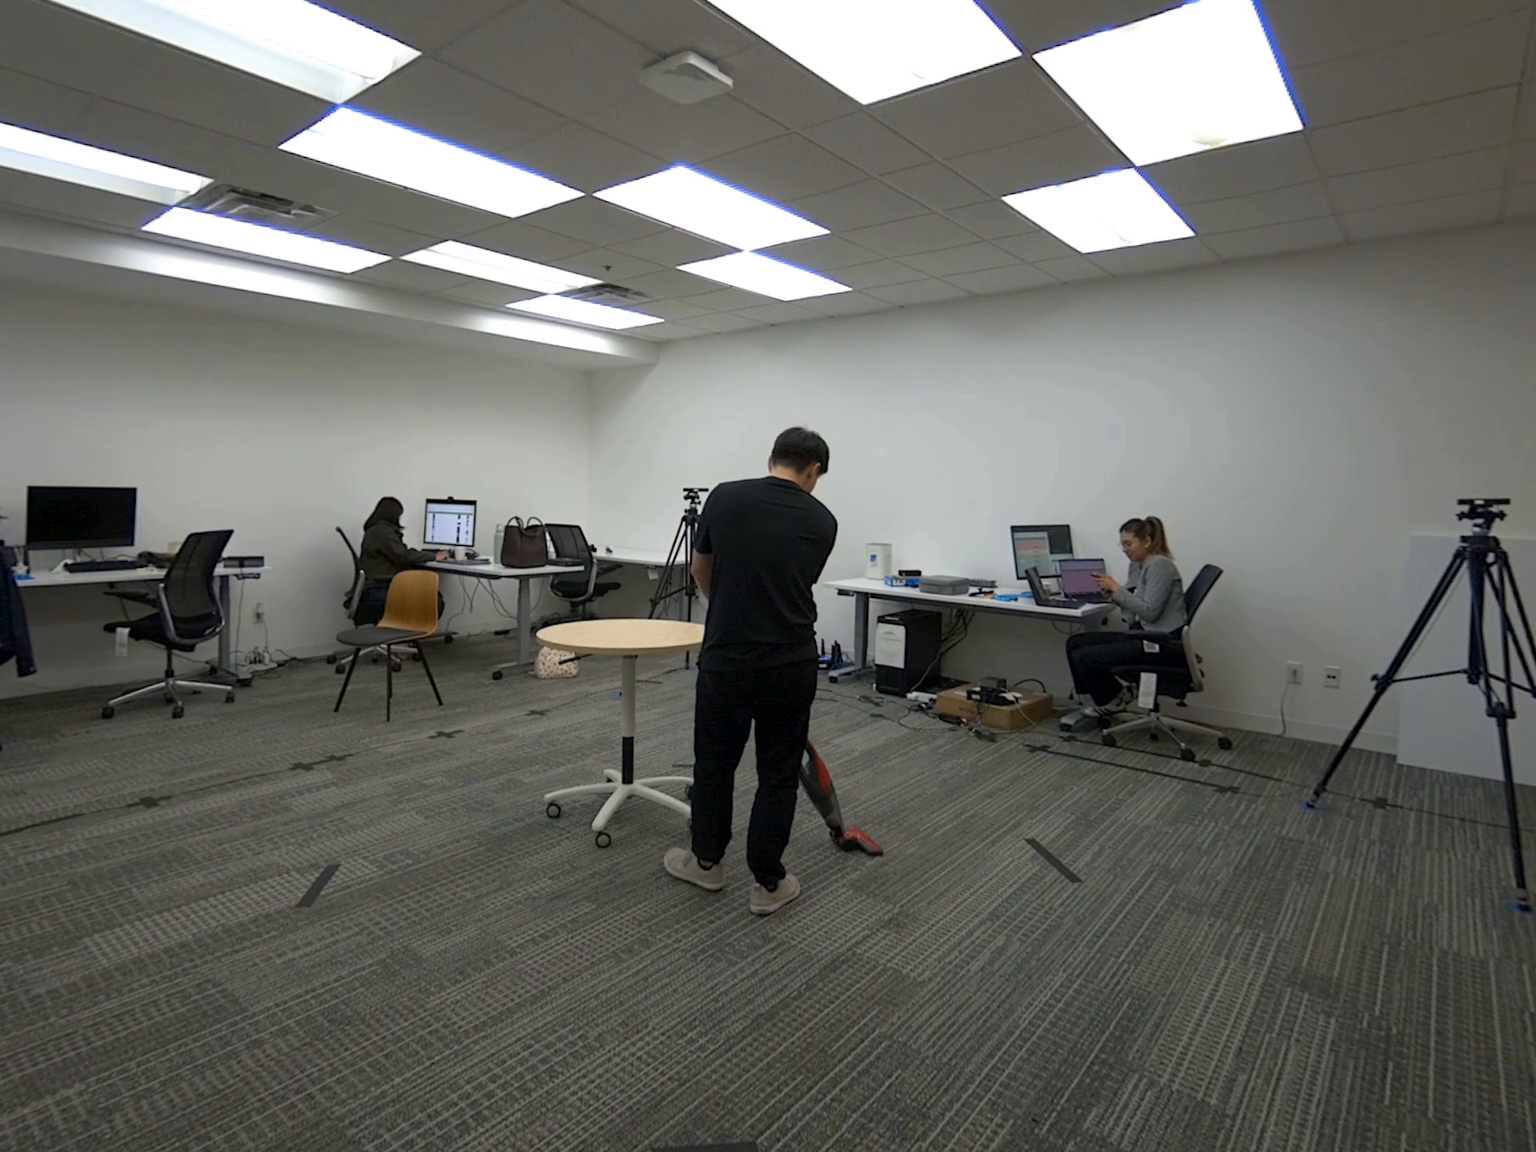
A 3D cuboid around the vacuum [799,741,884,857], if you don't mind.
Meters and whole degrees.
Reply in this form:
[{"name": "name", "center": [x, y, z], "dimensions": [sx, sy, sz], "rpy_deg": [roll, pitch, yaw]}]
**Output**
[{"name": "vacuum", "center": [0.085, 0.618, 3.259], "dimensions": [0.143, 1.033, 0.257], "rpy_deg": [-32, 12, -11]}]
